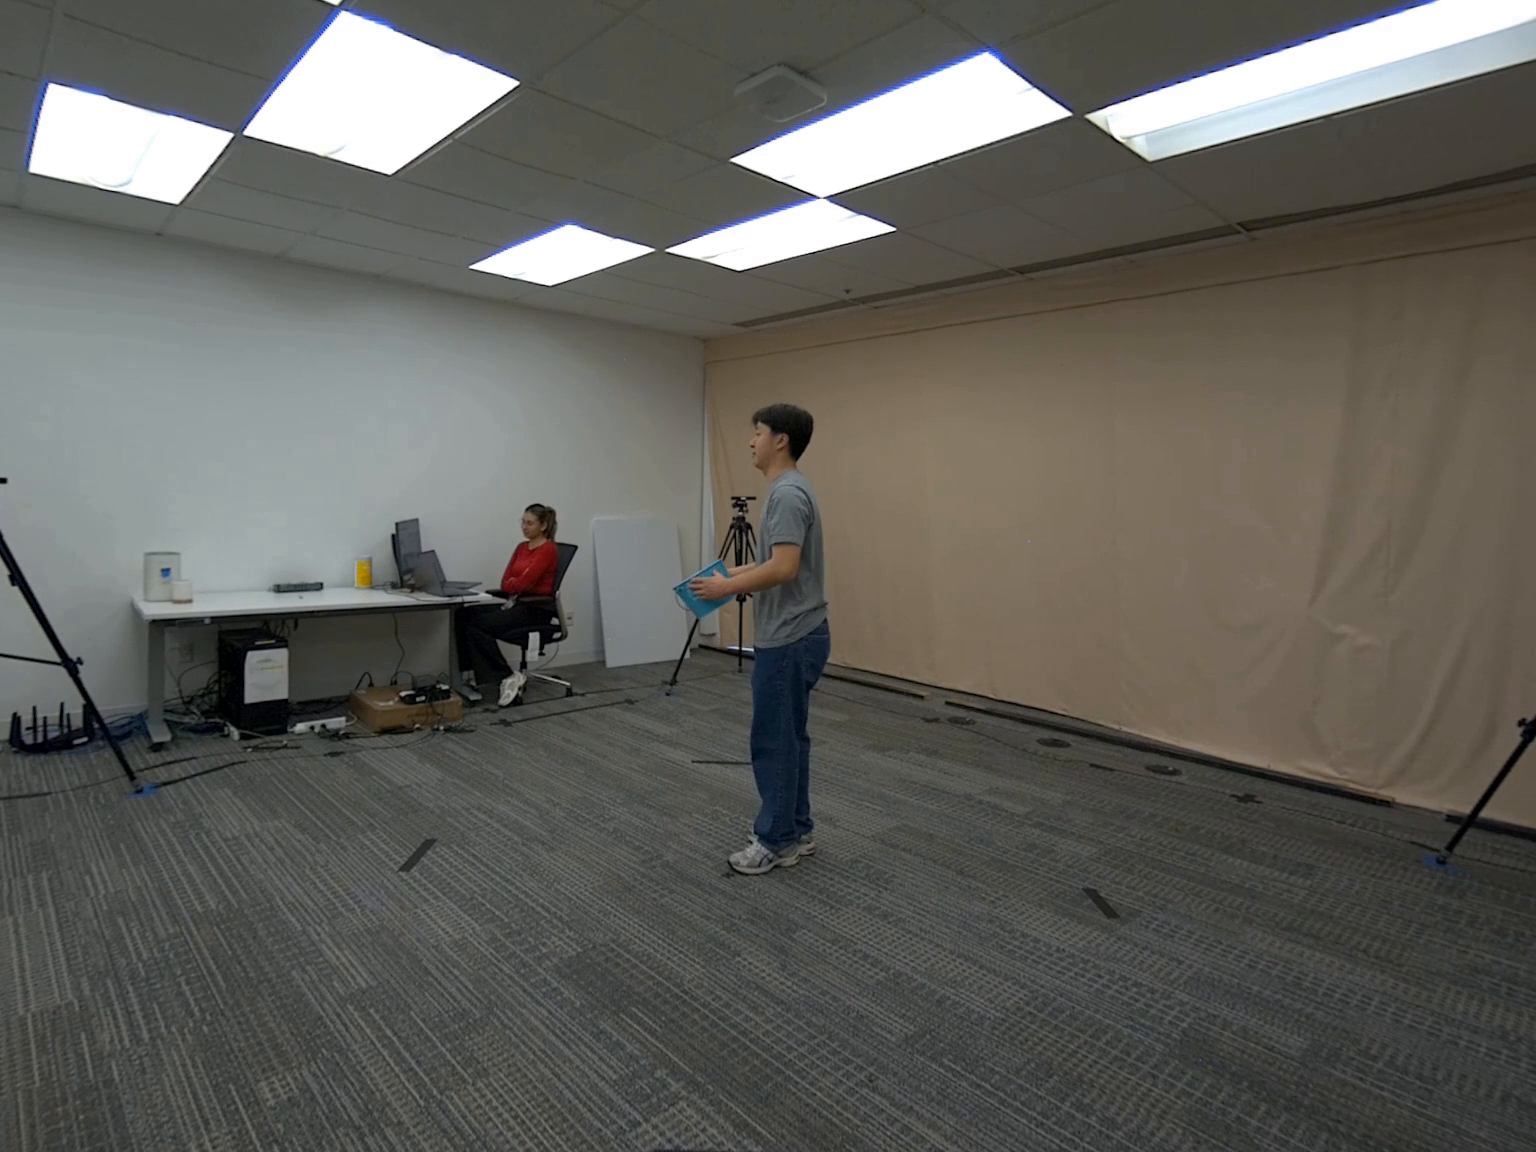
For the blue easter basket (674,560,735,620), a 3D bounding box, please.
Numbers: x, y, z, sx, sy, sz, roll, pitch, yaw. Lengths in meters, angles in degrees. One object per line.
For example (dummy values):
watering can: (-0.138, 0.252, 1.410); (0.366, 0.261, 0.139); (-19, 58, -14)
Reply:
blue easter basket: (-0.246, 0.044, 3.256); (0.243, 0.155, 0.244); (-29, 3, 0)
